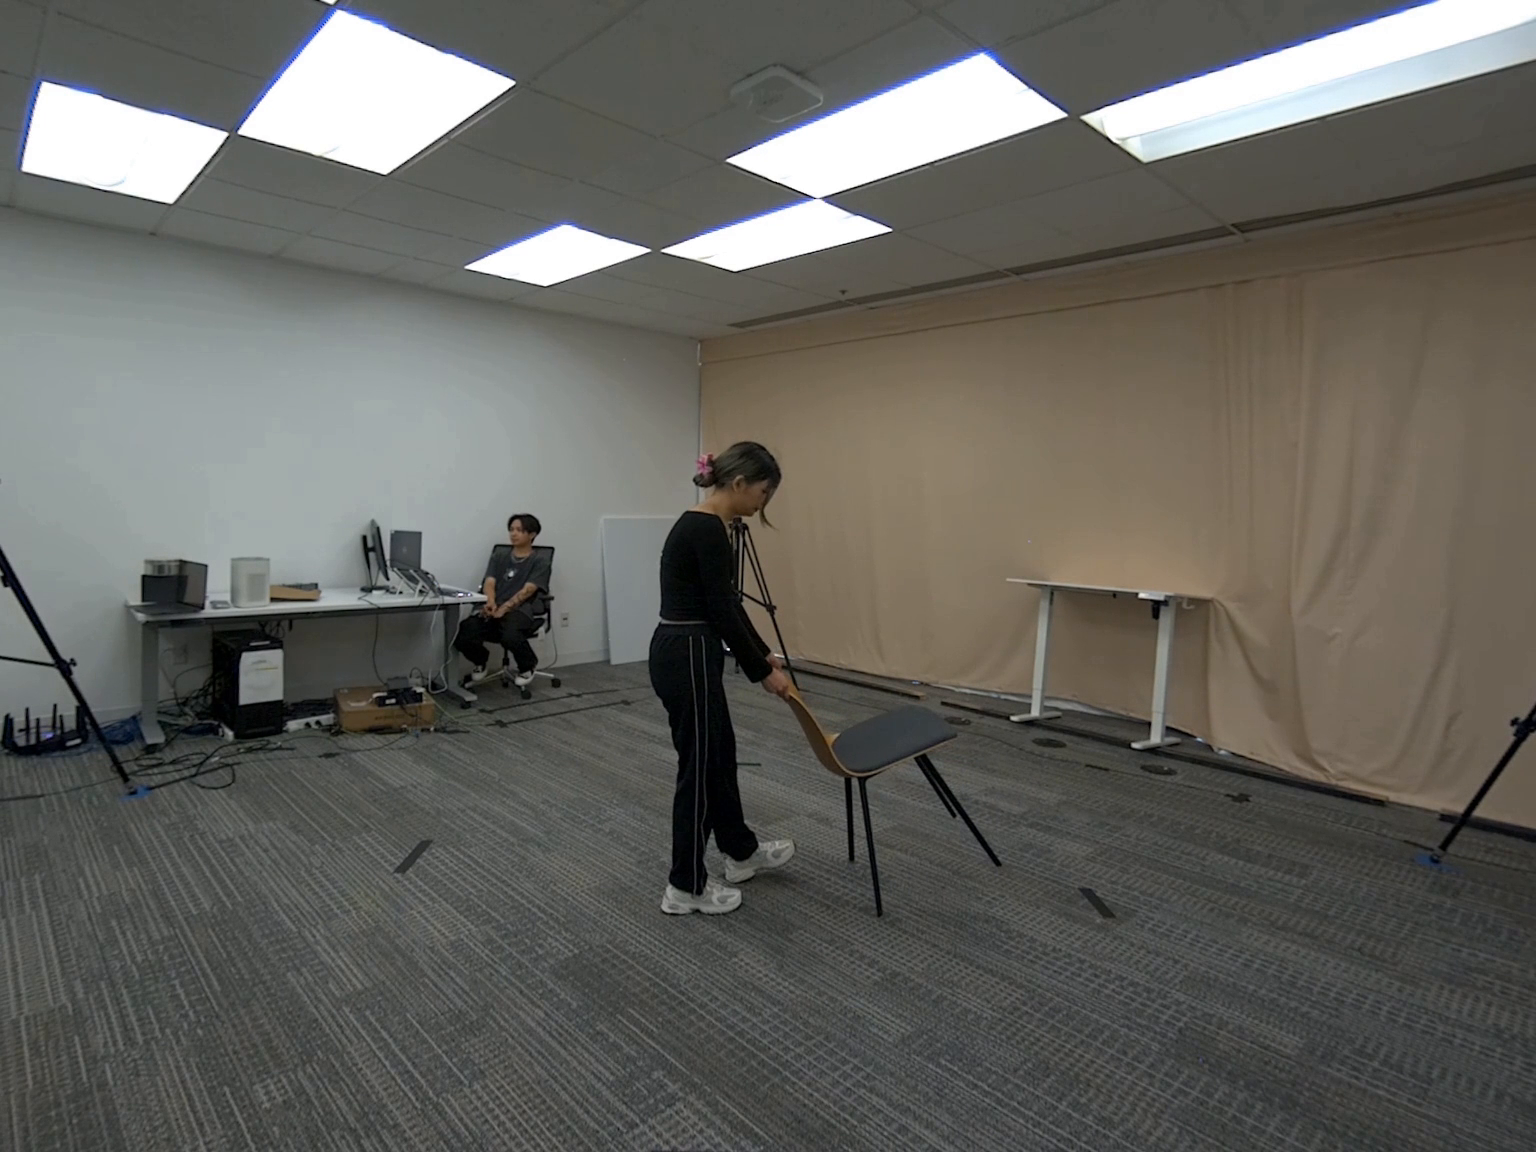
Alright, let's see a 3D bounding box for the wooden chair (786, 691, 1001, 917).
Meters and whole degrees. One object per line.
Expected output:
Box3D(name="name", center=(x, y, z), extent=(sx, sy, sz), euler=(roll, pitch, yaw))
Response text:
Box3D(name="wooden chair", center=(0.400, 0.643, 3.016), extent=(0.522, 0.873, 0.481), euler=(-26, 5, -4))
